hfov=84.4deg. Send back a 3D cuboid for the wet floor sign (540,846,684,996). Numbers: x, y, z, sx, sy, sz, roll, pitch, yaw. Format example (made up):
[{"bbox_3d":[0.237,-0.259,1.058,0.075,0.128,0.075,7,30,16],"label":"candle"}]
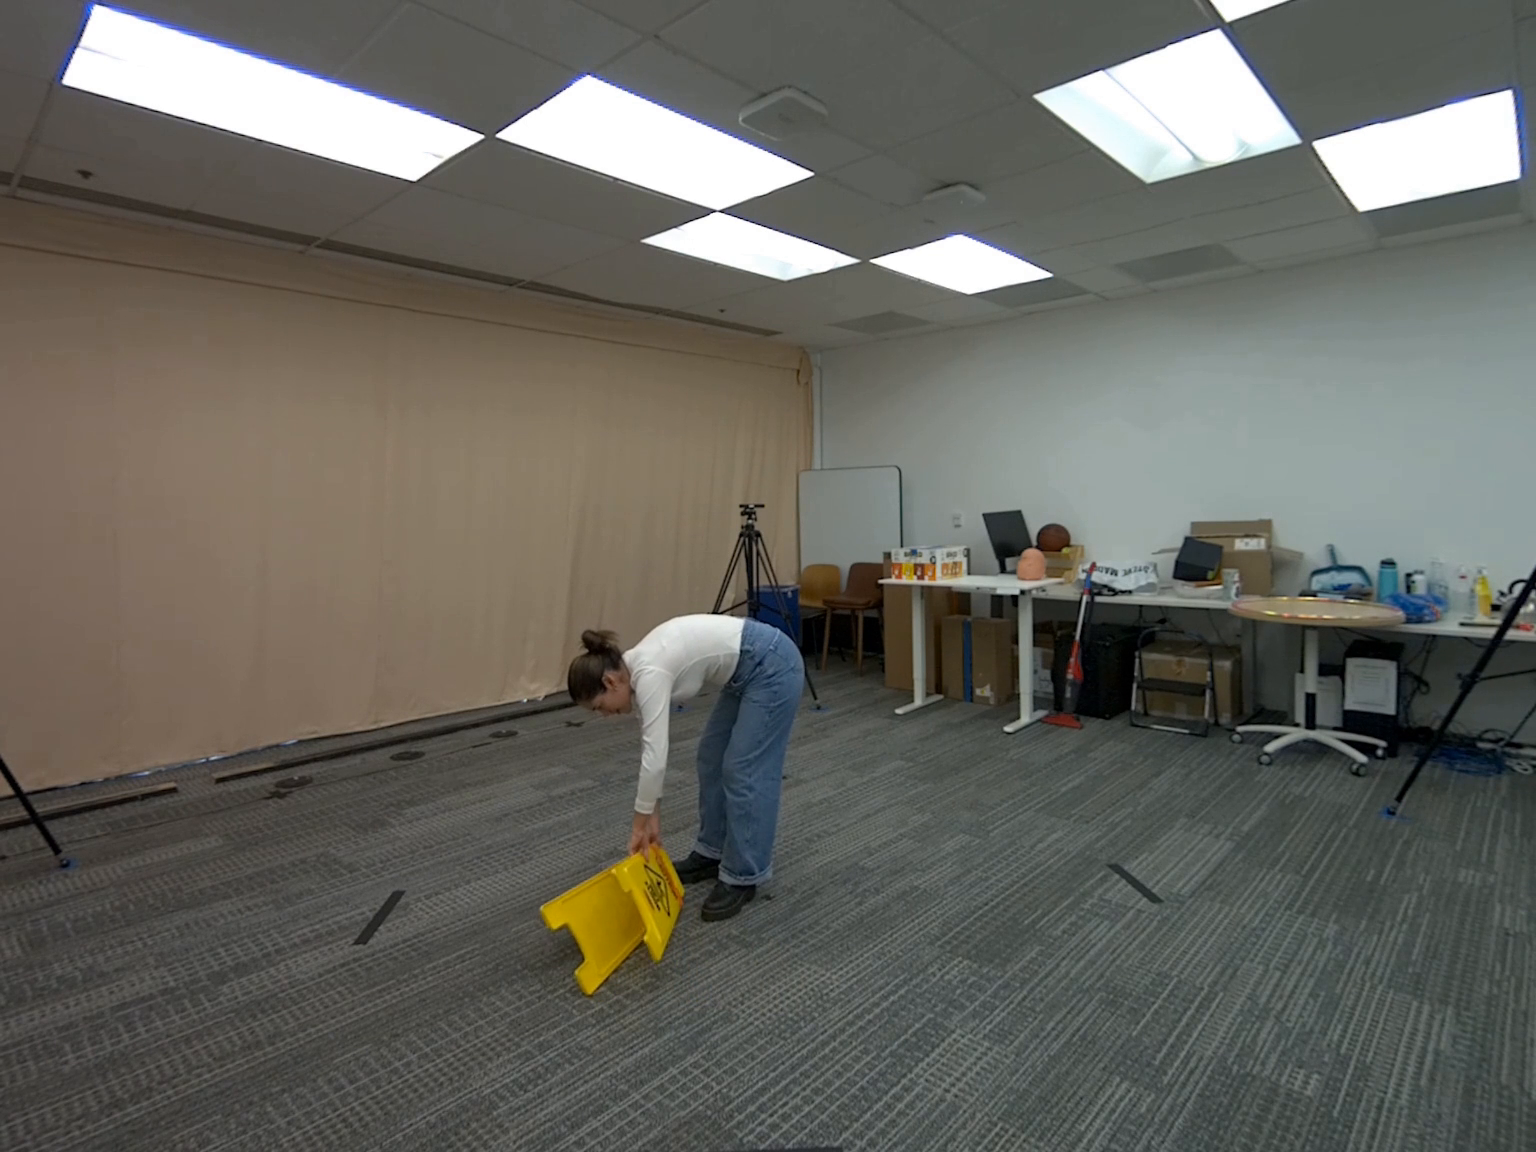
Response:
[{"bbox_3d":[-0.421,1.037,2.711,0.291,0.285,0.634,-30,-9,10],"label":"wet floor sign"}]
